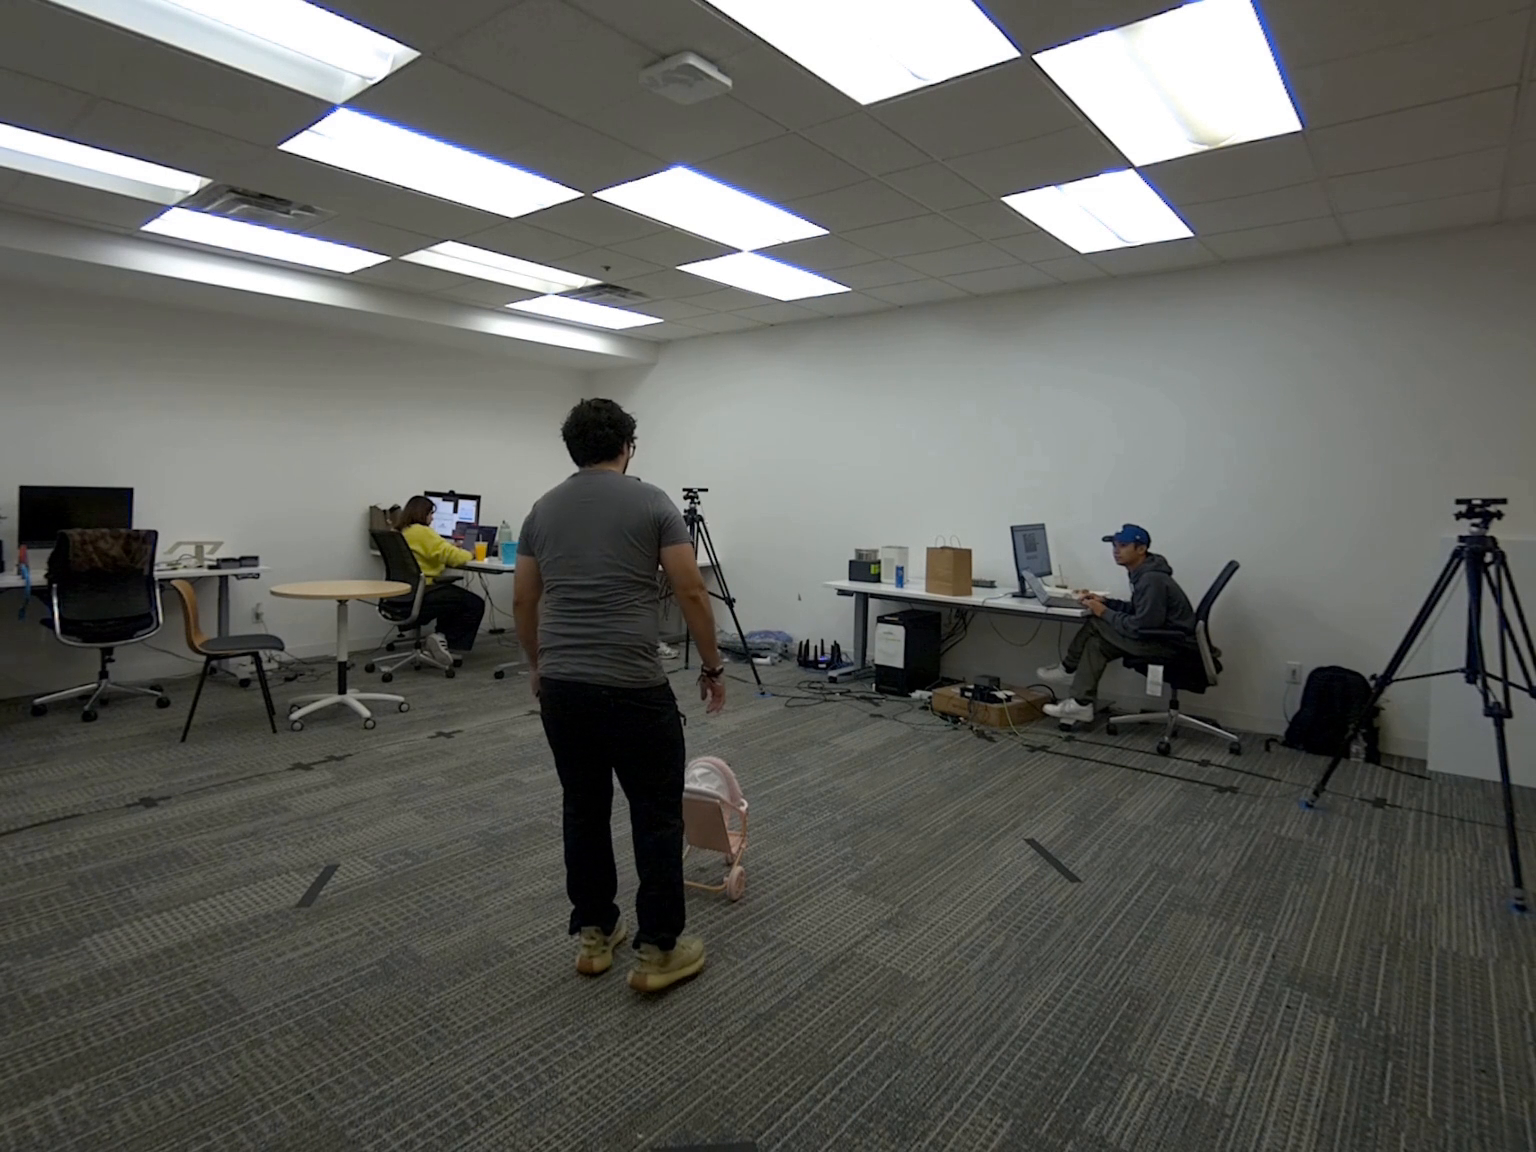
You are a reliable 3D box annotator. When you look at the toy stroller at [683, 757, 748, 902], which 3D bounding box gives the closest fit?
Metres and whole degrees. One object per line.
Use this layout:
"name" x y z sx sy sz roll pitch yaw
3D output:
"toy stroller" -0.207 0.859 2.980 0.289 0.525 0.339 3 21 25
